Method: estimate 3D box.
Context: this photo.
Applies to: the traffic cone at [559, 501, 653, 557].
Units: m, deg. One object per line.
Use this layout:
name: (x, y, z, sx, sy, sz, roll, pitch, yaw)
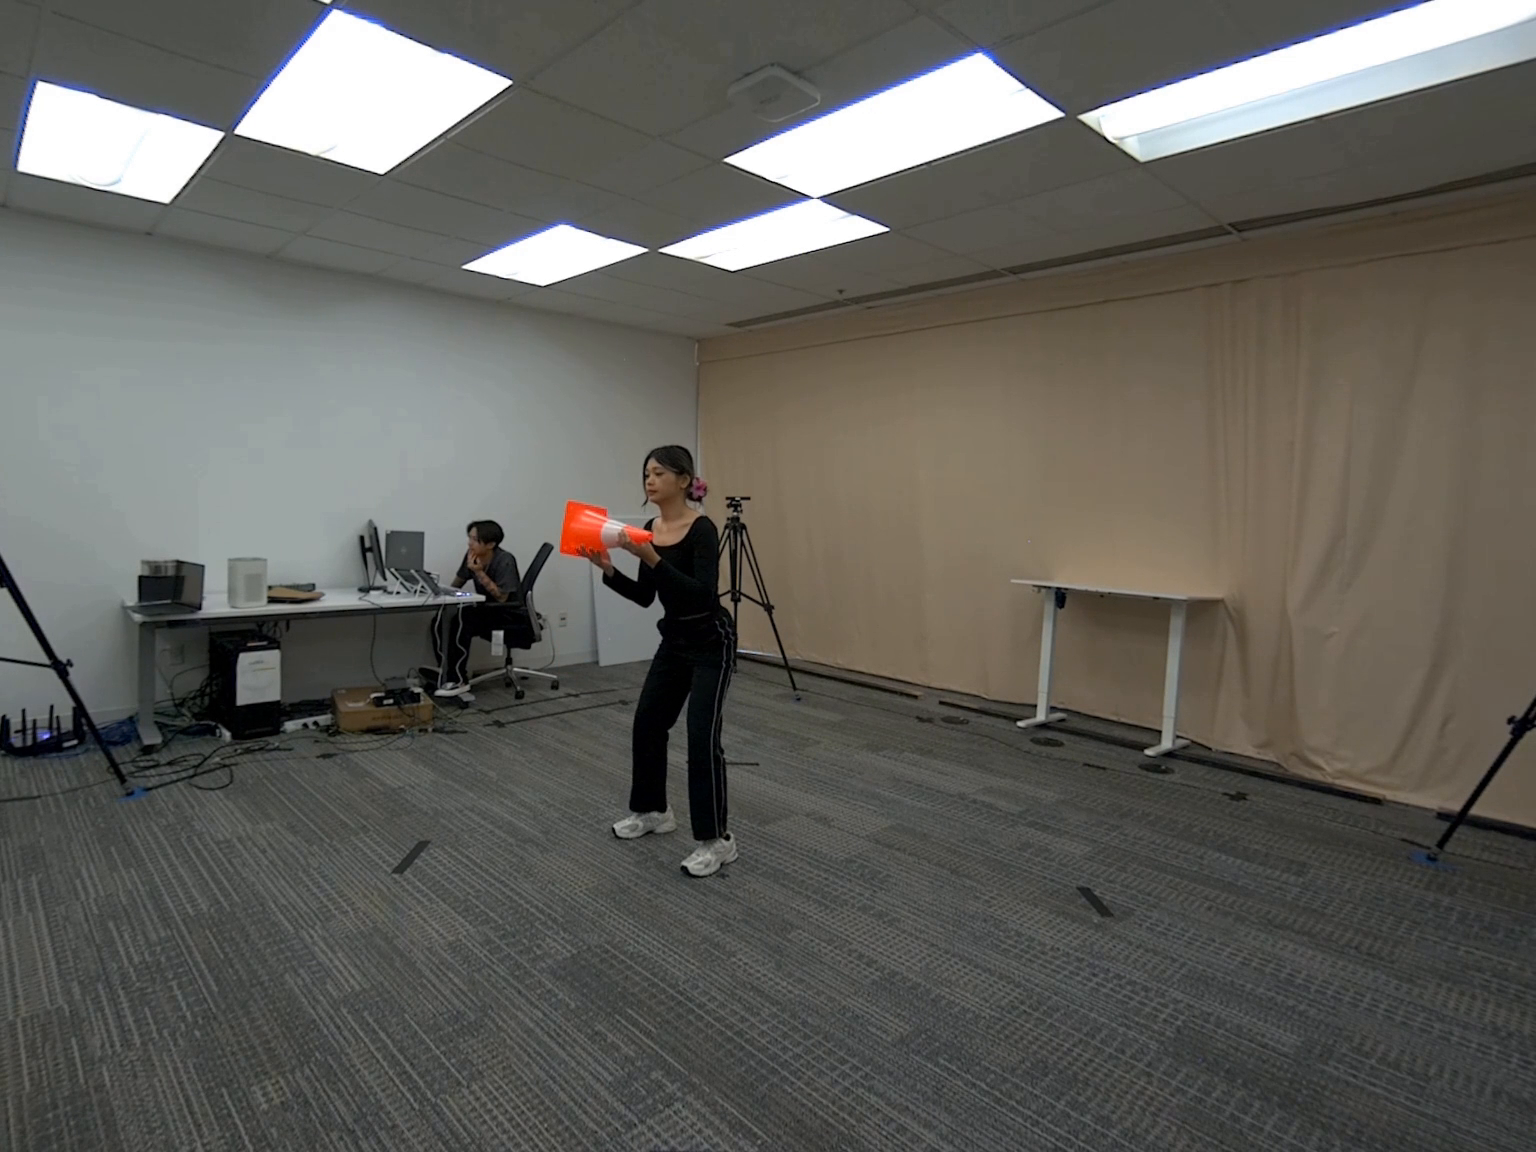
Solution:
traffic cone: (-0.555, -0.150, 3.029, 0.393, 0.205, 0.198, 6, -5, 41)
